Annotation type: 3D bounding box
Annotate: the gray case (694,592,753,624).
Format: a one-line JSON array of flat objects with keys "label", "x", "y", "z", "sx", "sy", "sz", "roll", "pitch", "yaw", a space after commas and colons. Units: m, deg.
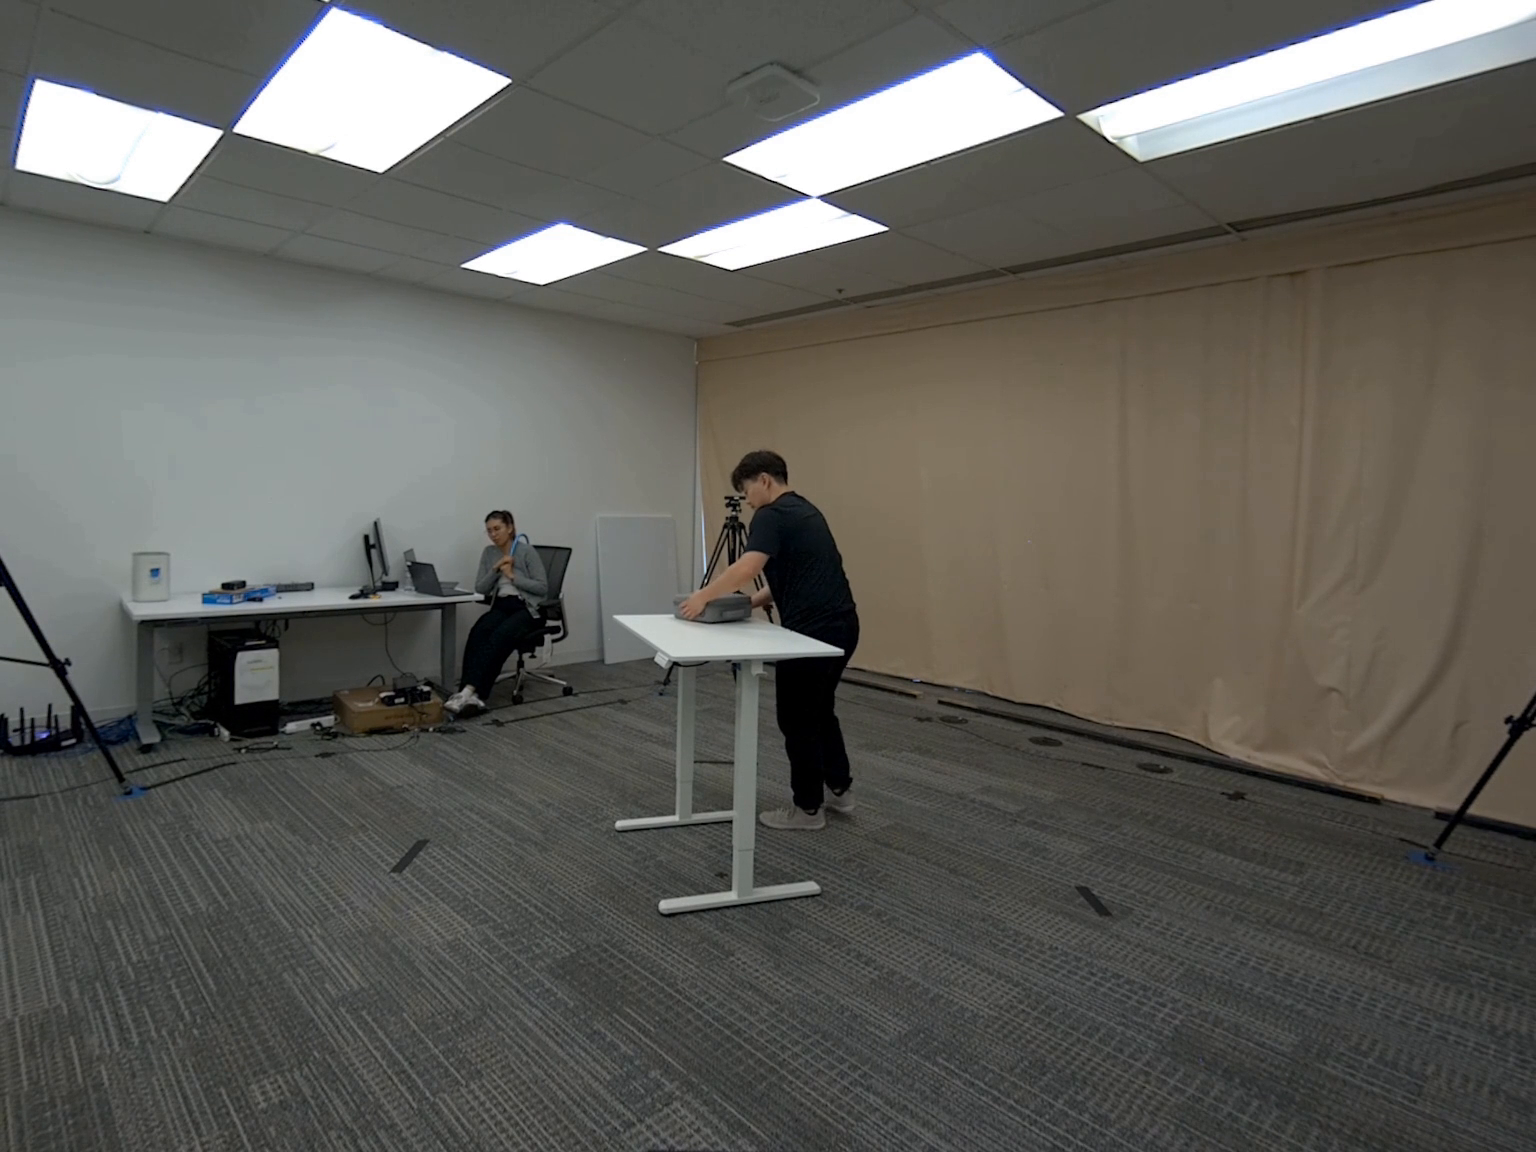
[{"label": "gray case", "x": -0.238, "y": 0.127, "z": 3.545, "sx": 0.251, "sy": 0.104, "sz": 0.267, "roll": -2, "pitch": 4, "yaw": -45}]
